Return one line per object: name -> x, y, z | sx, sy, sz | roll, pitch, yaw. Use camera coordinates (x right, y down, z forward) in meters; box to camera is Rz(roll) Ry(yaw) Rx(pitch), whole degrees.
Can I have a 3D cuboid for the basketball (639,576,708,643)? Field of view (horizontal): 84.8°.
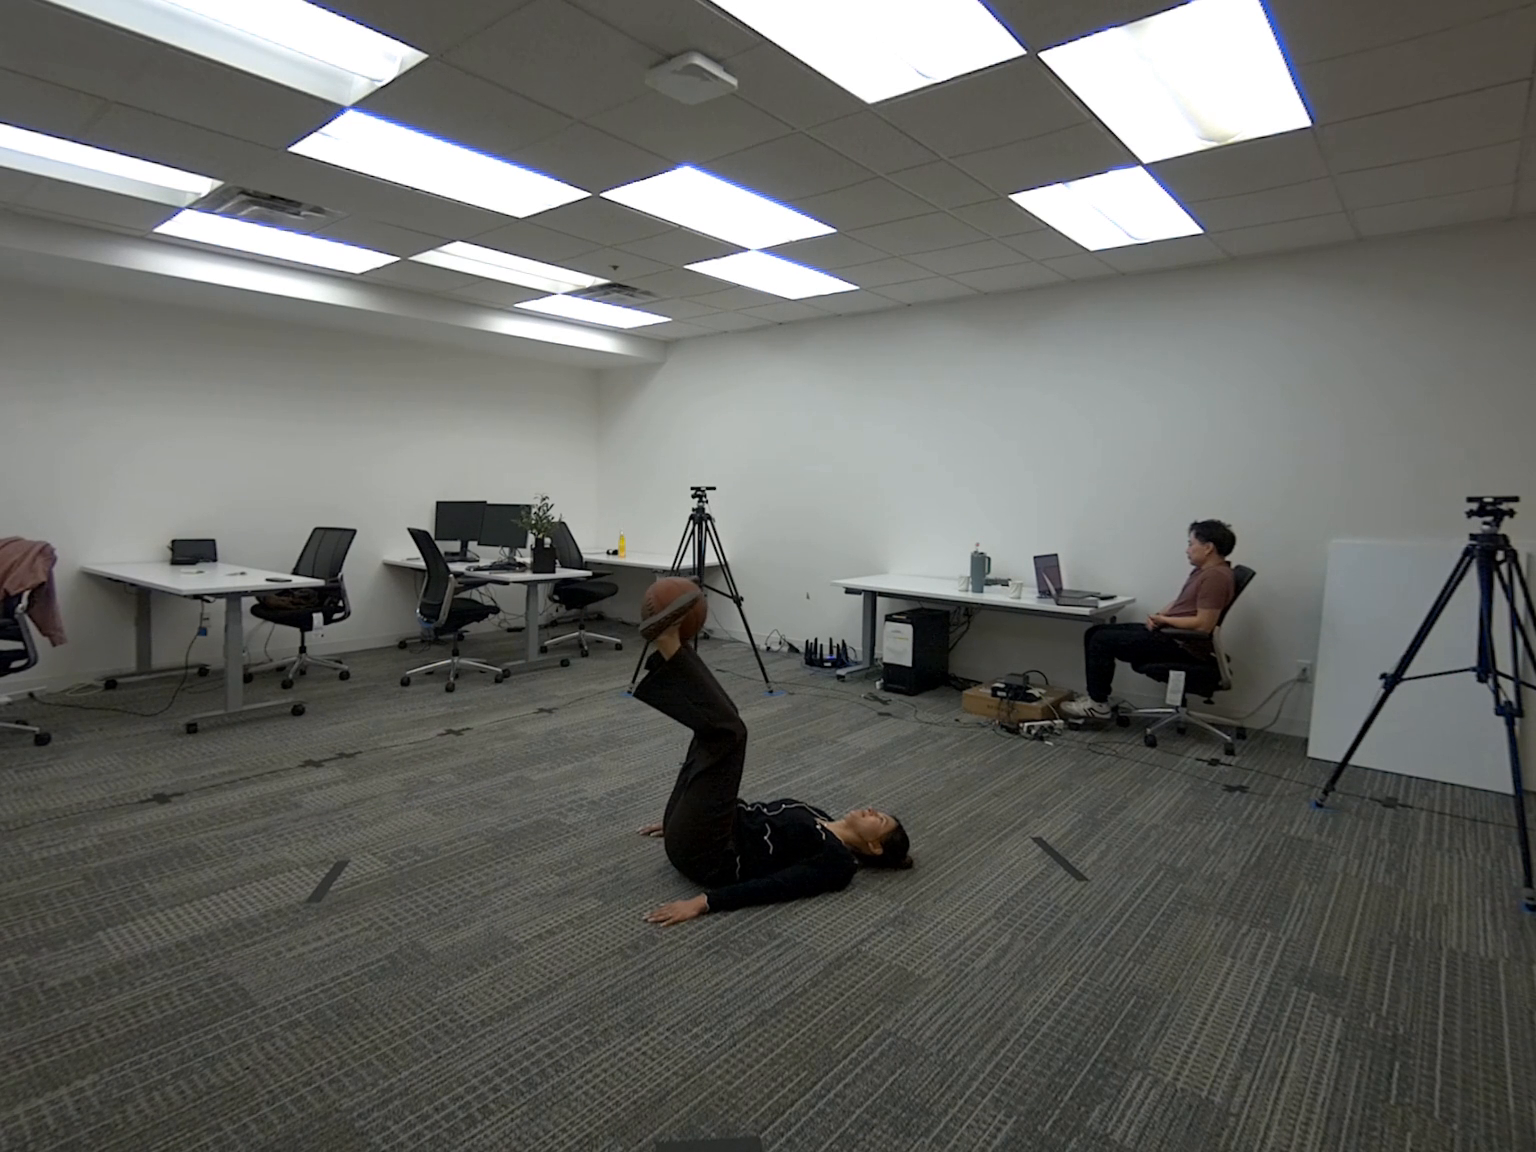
basketball -> -0.361, 0.124, 3.019 | 0.236, 0.234, 0.238 | 0, 7, -2
